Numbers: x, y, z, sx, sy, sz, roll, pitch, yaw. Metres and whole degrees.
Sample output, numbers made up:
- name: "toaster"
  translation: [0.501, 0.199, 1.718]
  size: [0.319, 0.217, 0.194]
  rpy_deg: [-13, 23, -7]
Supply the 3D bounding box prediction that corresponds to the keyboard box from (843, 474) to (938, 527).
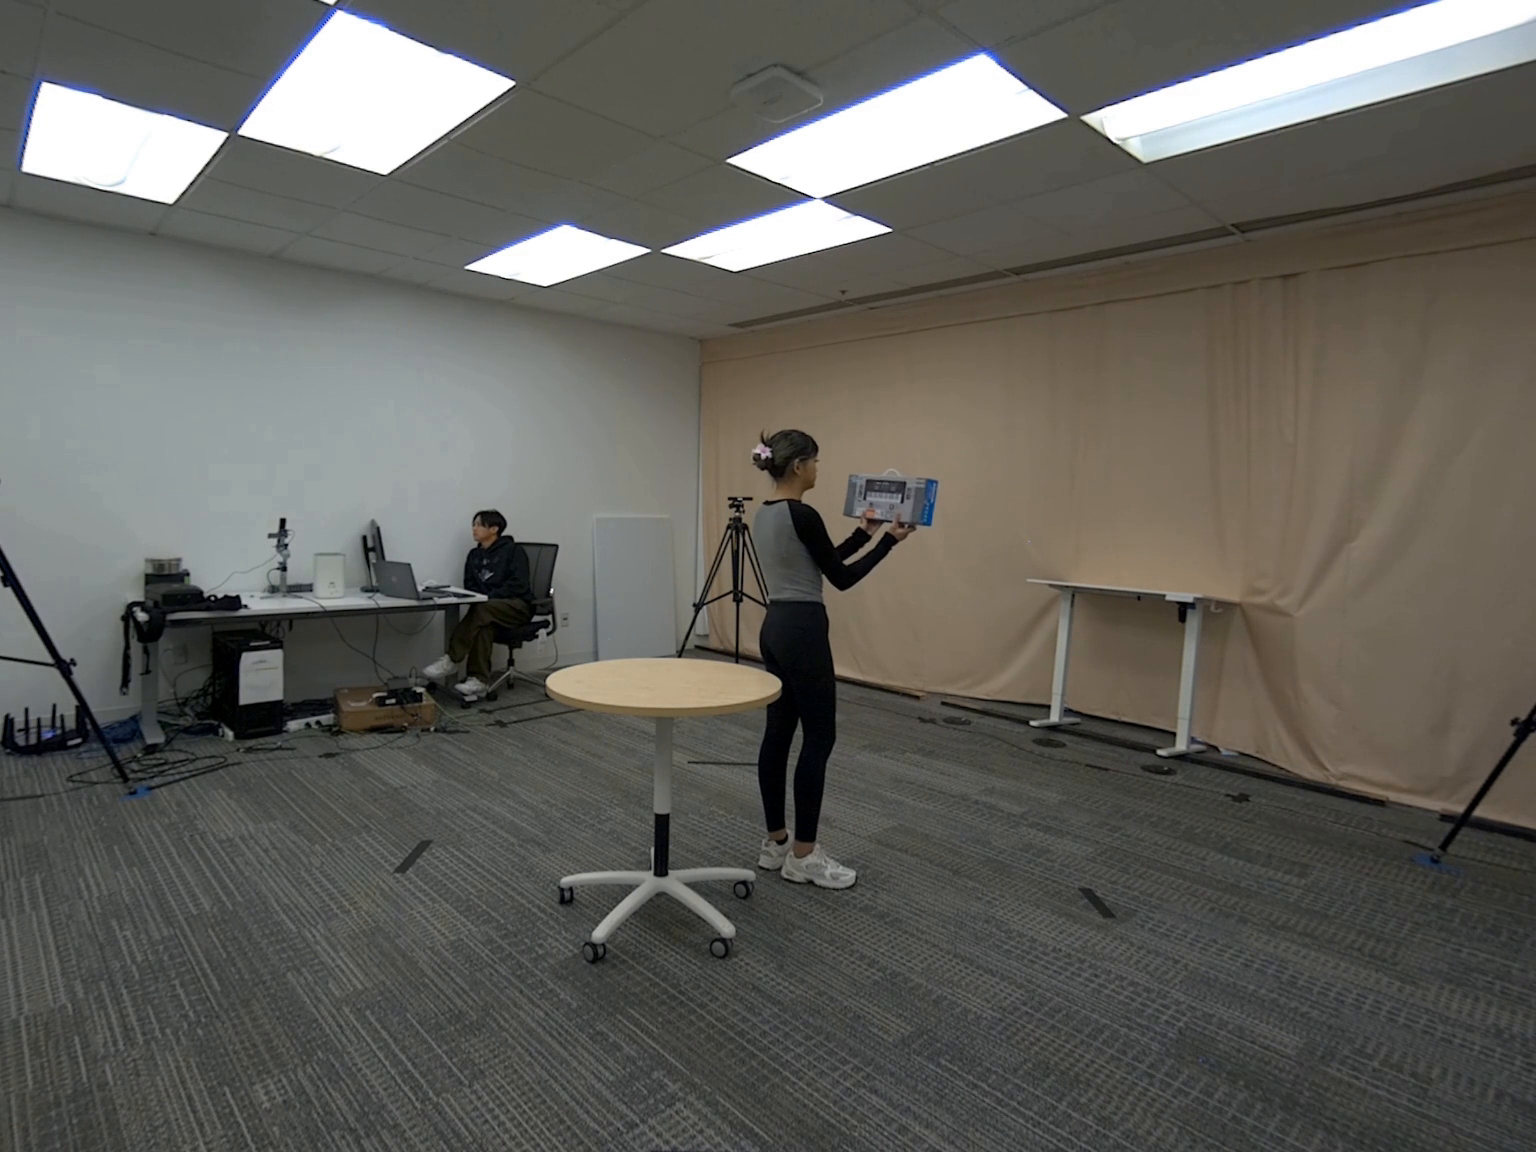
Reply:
- name: "keyboard box"
  translation: [0.461, -0.299, 3.281]
  size: [0.058, 0.176, 0.448]
  rpy_deg: [8, 3, -34]
